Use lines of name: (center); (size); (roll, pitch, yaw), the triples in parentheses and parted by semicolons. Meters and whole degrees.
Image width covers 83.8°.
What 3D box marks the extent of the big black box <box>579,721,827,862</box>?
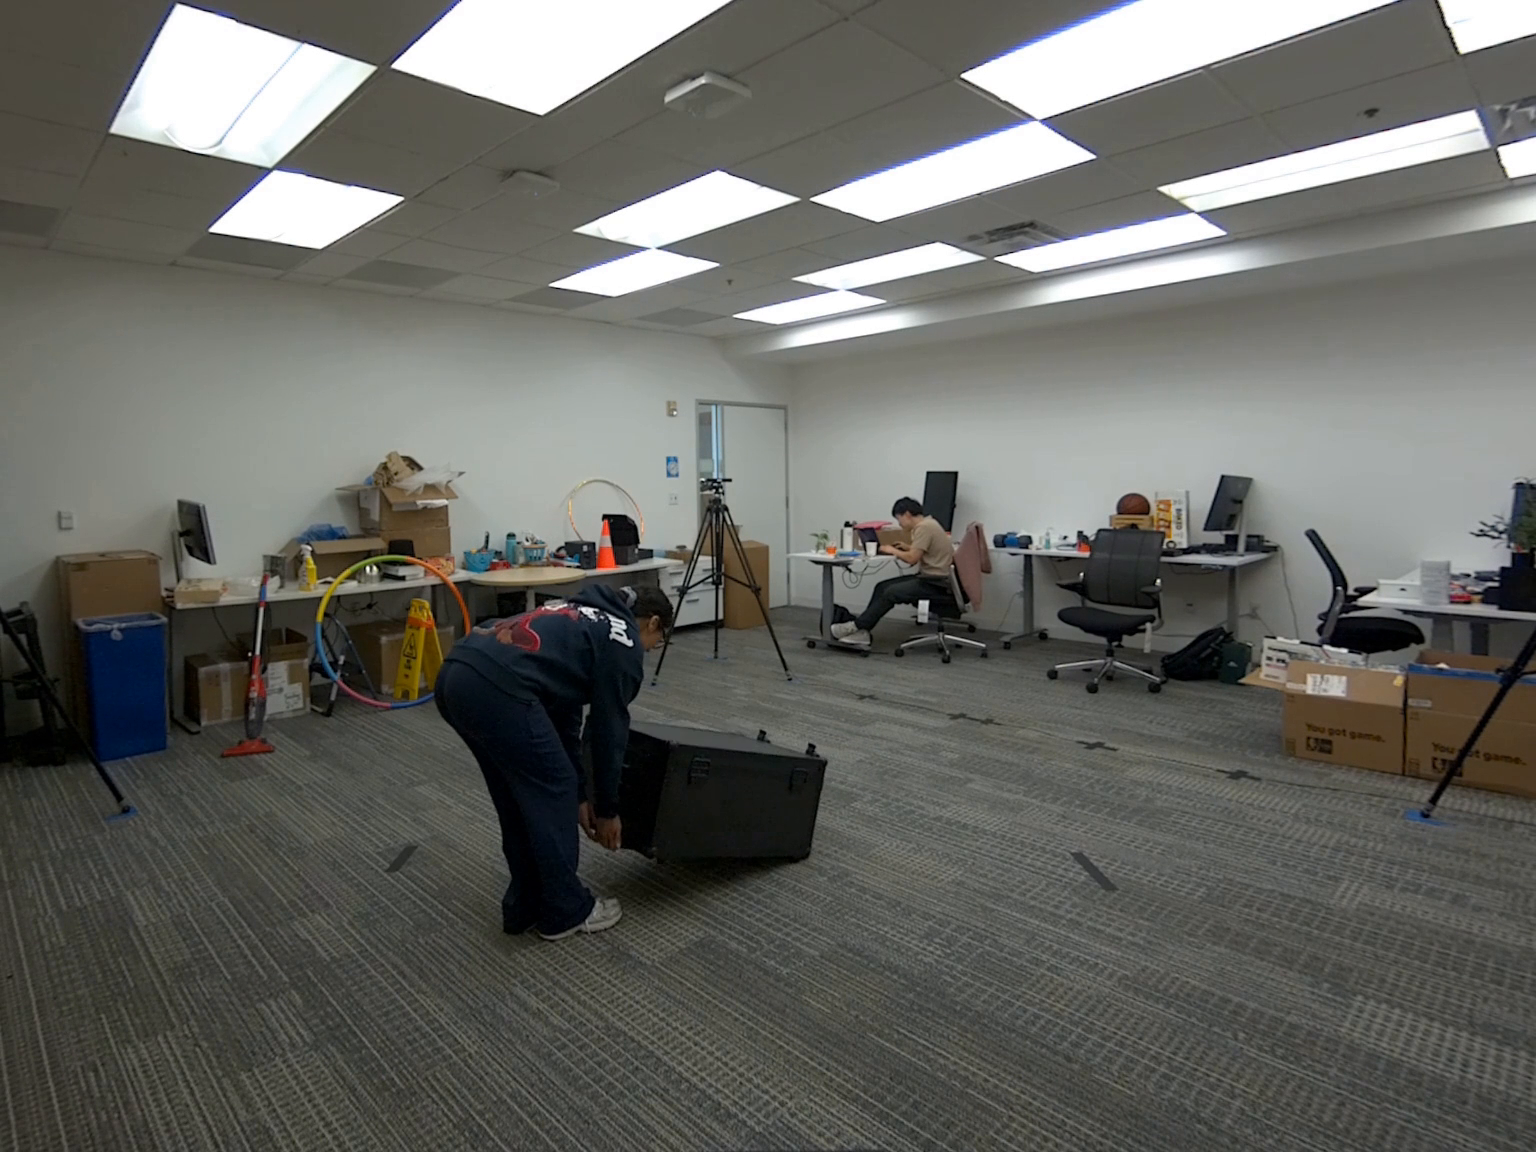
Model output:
big black box: (-0.214, 0.776, 3.103); (0.537, 0.398, 0.831); (4, -9, 45)
